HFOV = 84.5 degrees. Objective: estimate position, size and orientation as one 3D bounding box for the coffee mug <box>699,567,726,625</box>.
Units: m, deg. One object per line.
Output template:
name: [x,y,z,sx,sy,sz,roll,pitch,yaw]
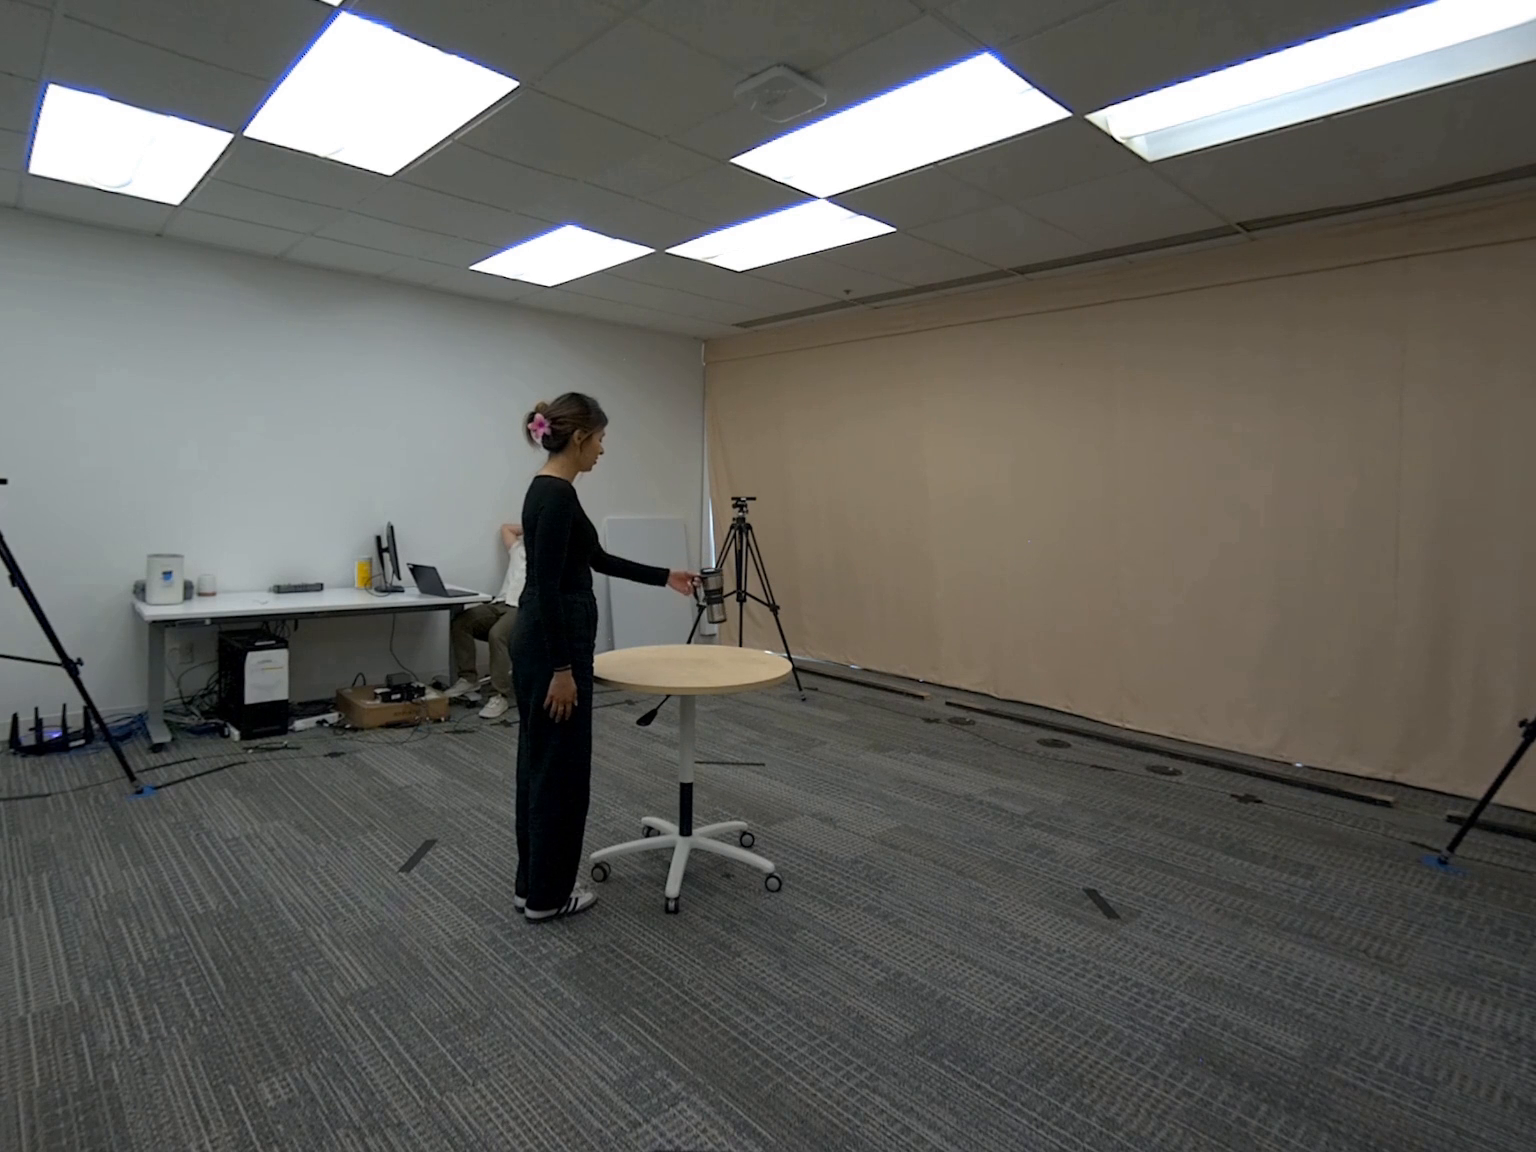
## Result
coffee mug: [-0.241,0.078,3.131,0.120,0.202,0.089,-5,6,-20]
